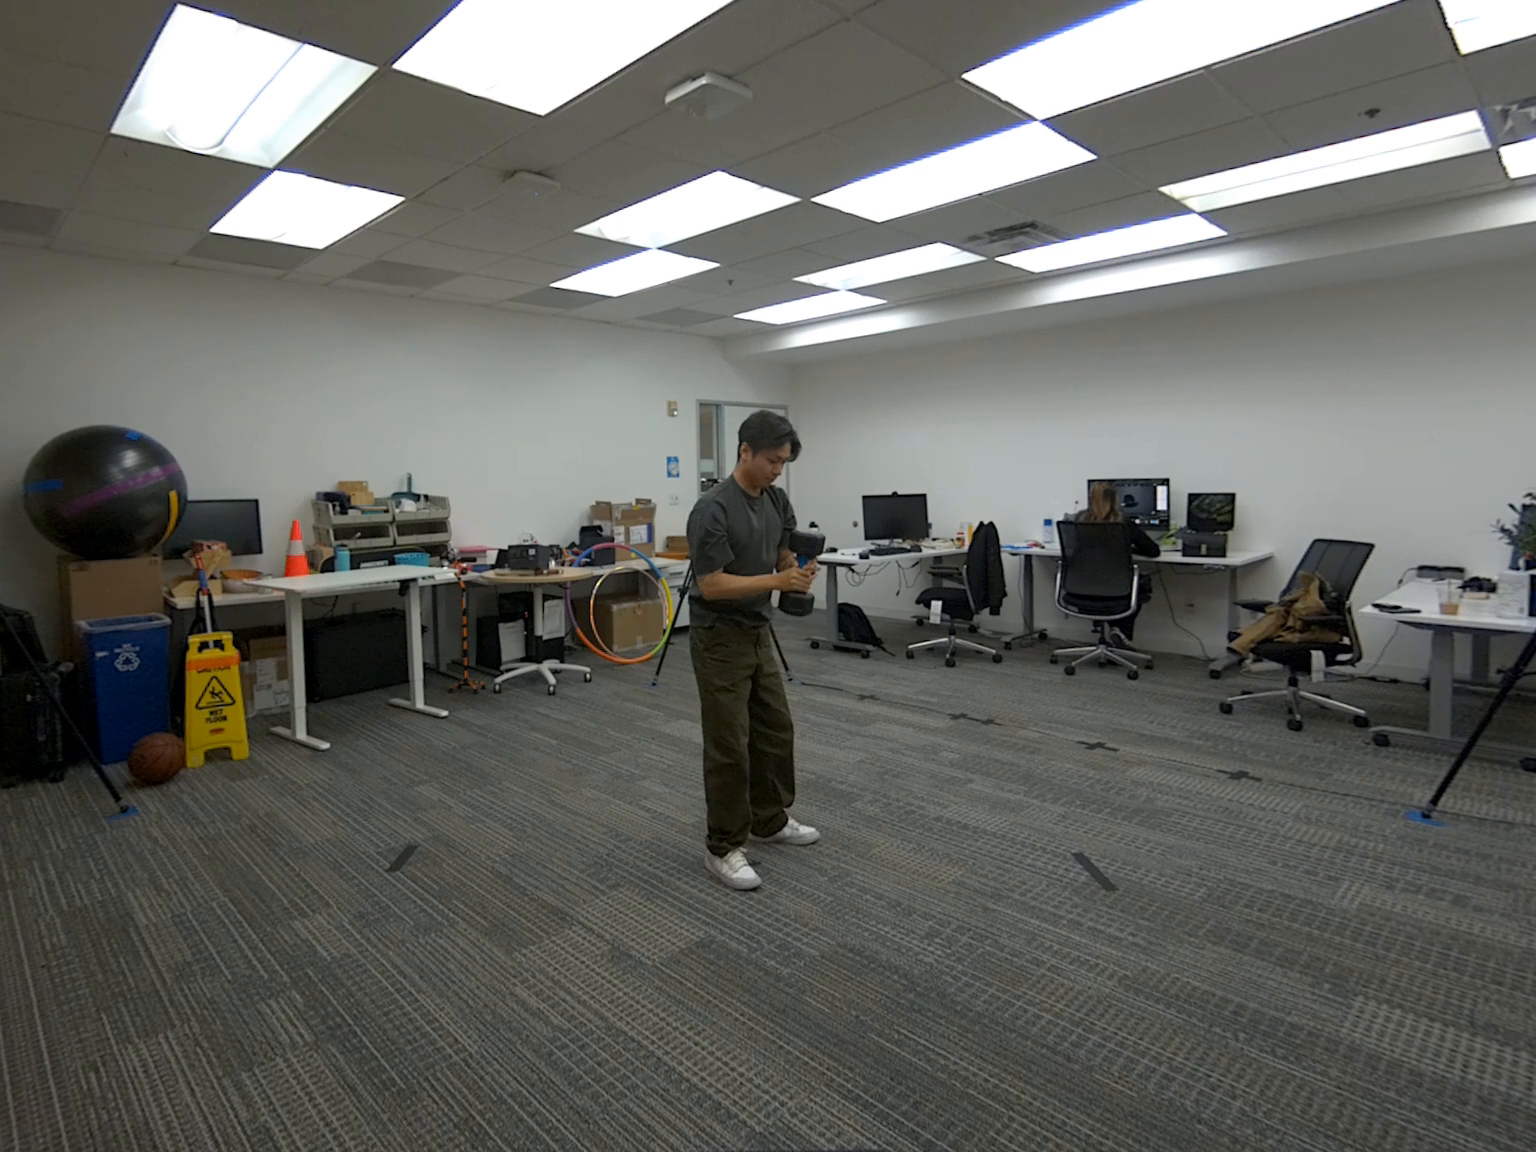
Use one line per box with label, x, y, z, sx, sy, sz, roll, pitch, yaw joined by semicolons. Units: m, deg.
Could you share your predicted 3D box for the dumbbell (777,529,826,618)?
dumbbell;0.113;-0.014;2.973;0.123;0.292;0.109;10;4;-3
